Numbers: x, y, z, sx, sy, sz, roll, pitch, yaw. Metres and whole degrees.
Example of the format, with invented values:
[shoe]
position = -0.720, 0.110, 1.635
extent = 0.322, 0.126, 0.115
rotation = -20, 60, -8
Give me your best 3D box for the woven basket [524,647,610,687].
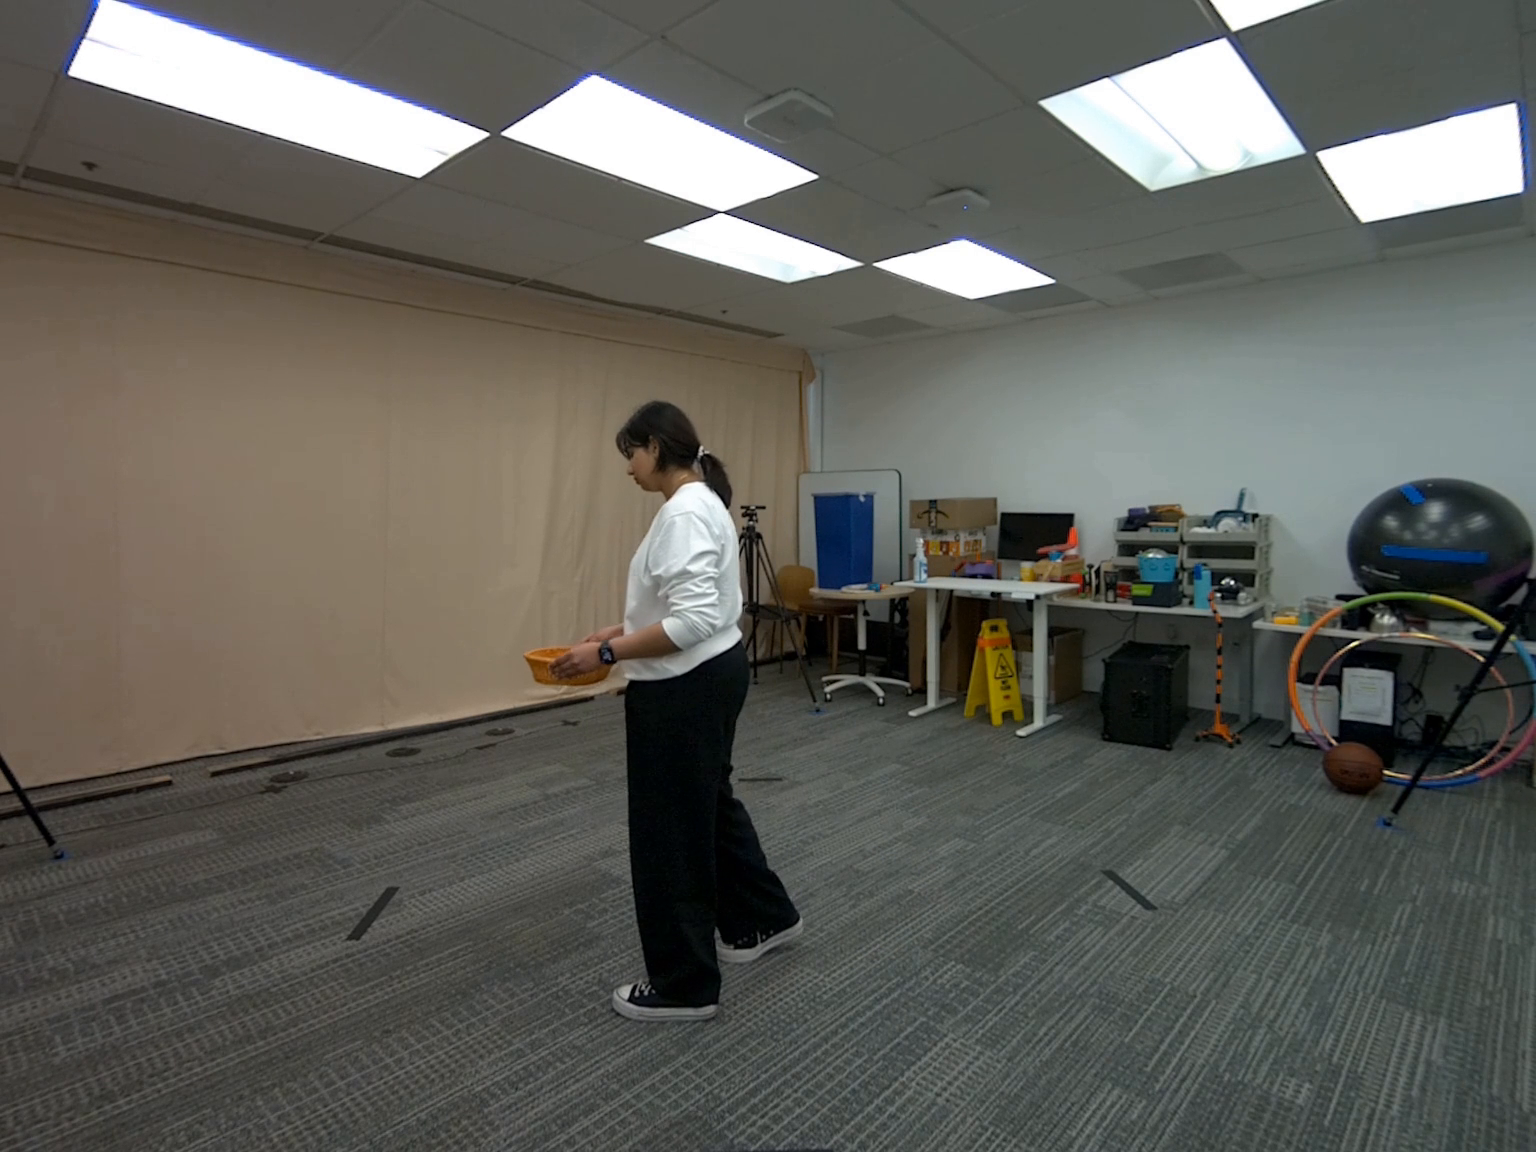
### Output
[woven basket]
position = -0.534, 0.261, 2.352
extent = 0.253, 0.073, 0.350
rotation = 3, 1, 0
